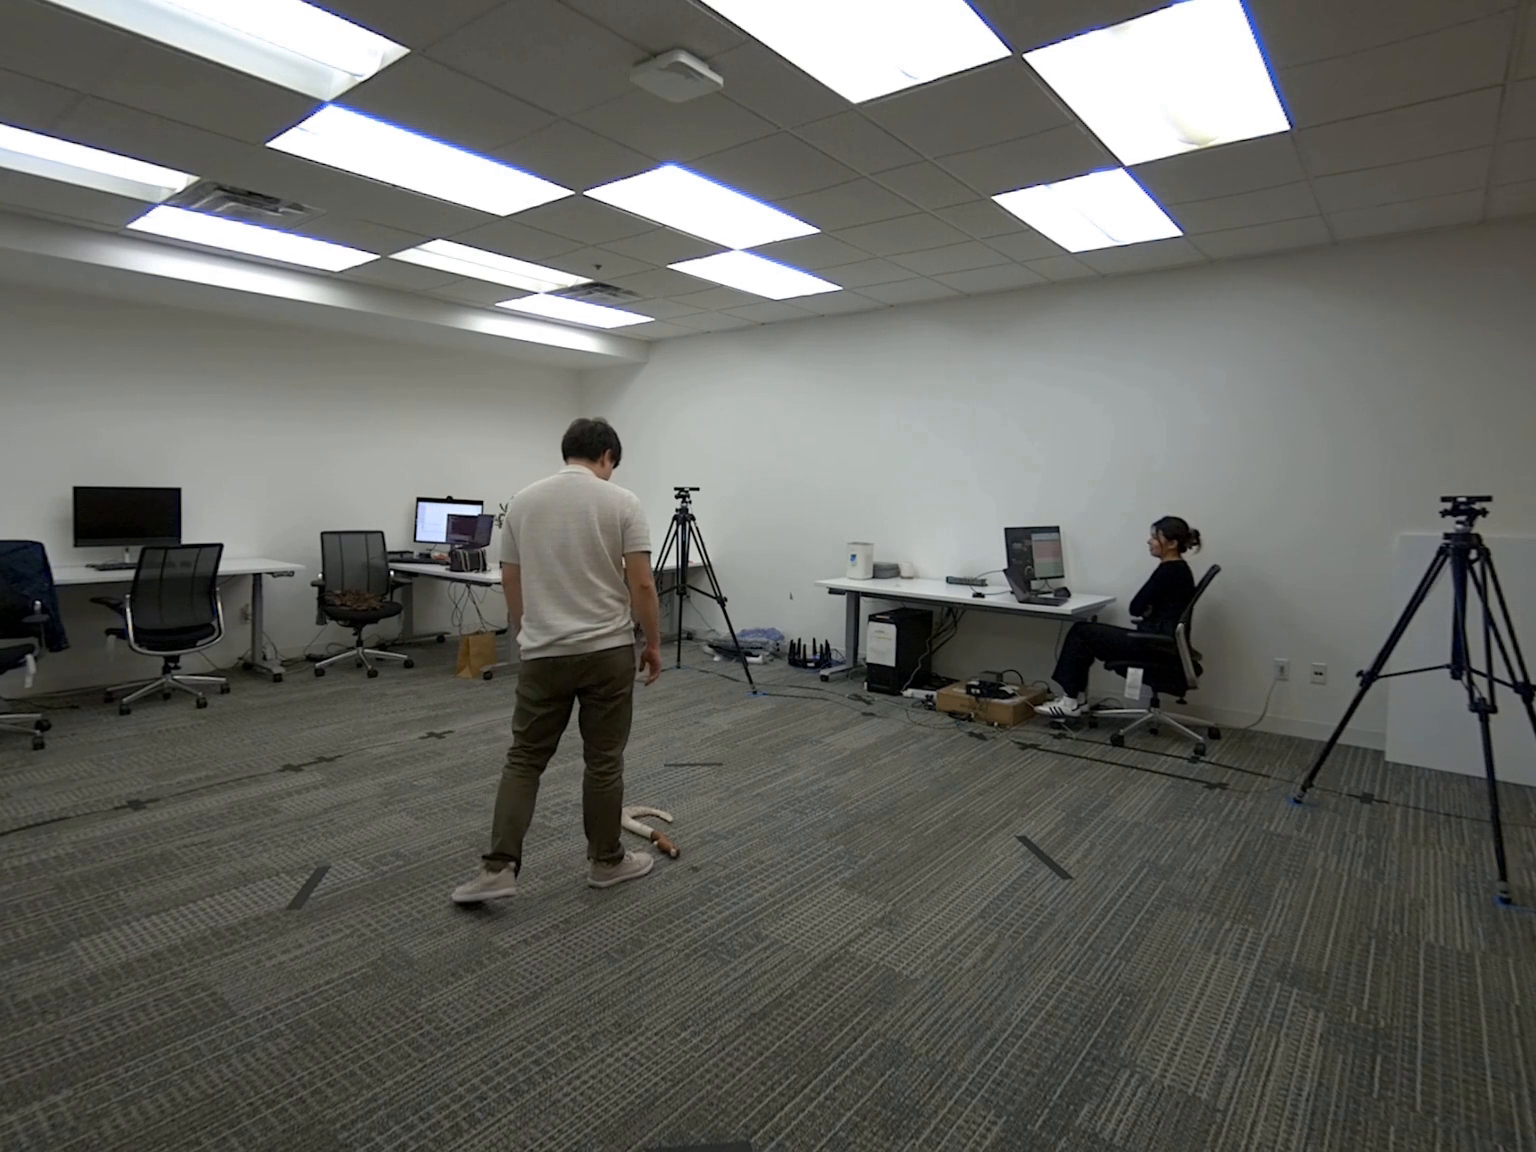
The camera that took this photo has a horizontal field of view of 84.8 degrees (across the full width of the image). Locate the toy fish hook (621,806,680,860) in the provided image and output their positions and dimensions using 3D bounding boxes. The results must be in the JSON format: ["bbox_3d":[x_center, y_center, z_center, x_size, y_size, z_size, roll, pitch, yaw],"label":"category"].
[{"bbox_3d":[-0.450,1.010,3.412,0.218,0.048,0.523,-4,8,-33],"label":"toy fish hook"}]
